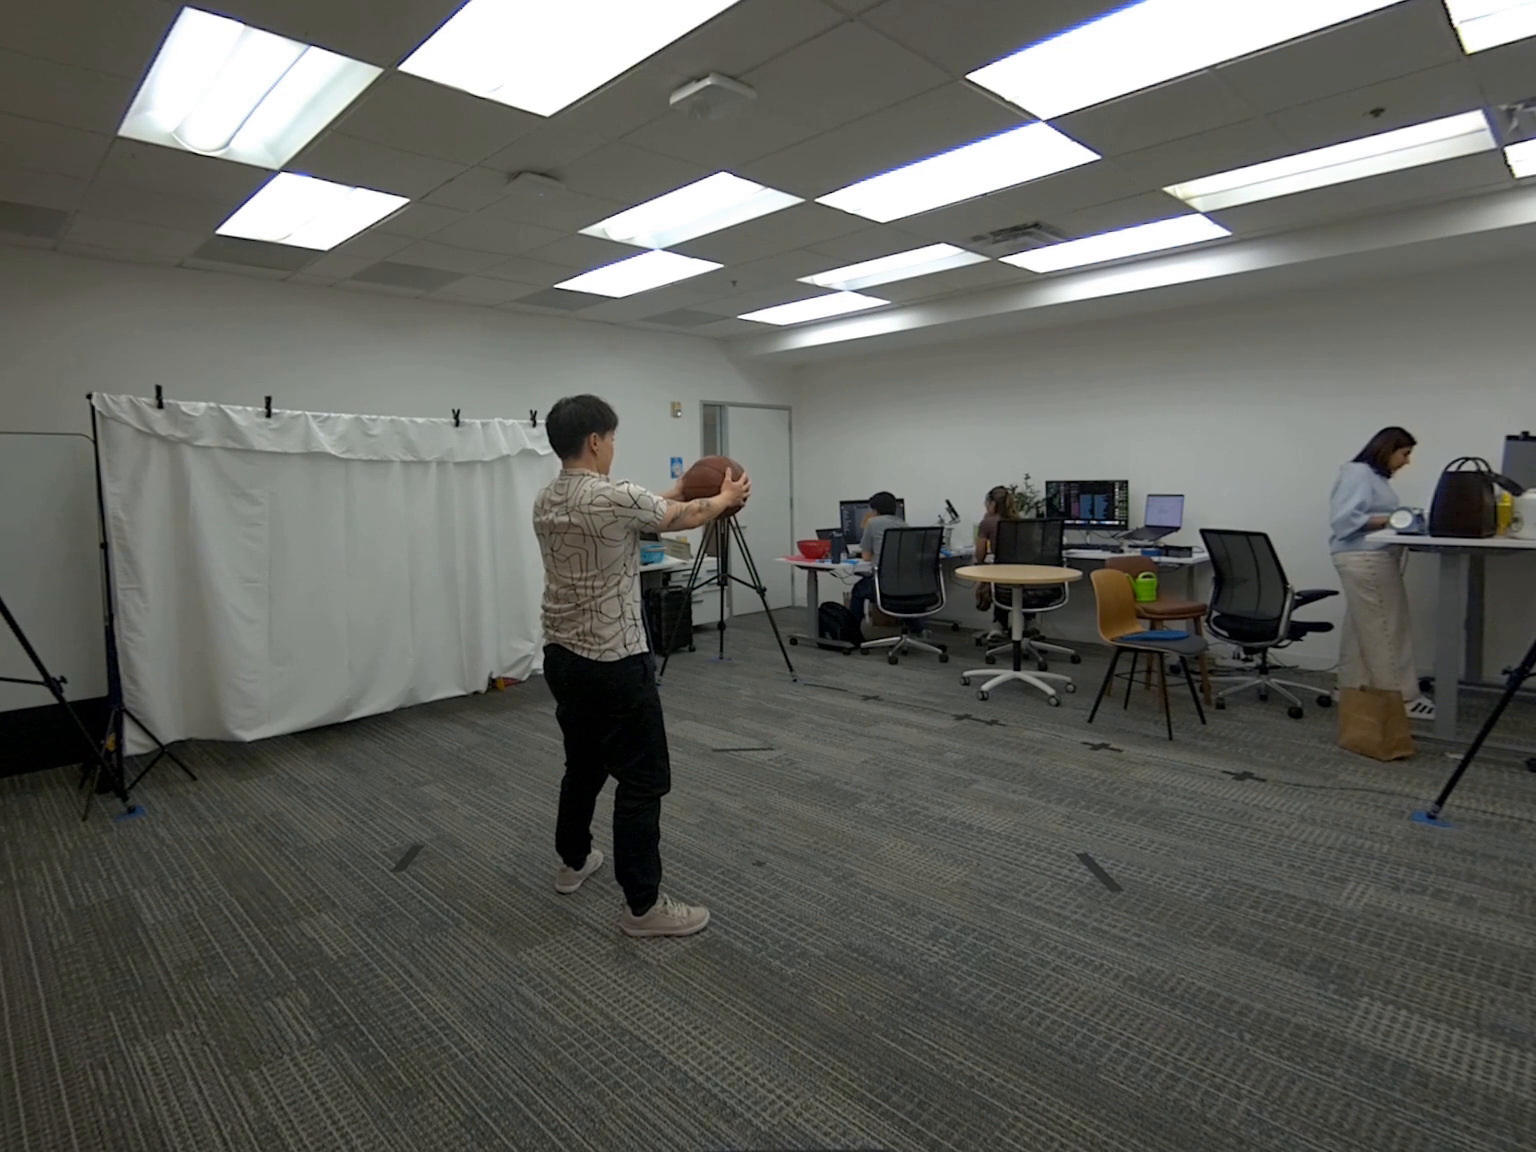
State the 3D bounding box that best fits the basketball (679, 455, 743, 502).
[{"bbox_3d":[-0.178,-0.321,3.133,0.236,0.235,0.237,-1,5,-2],"label":"basketball"}]
